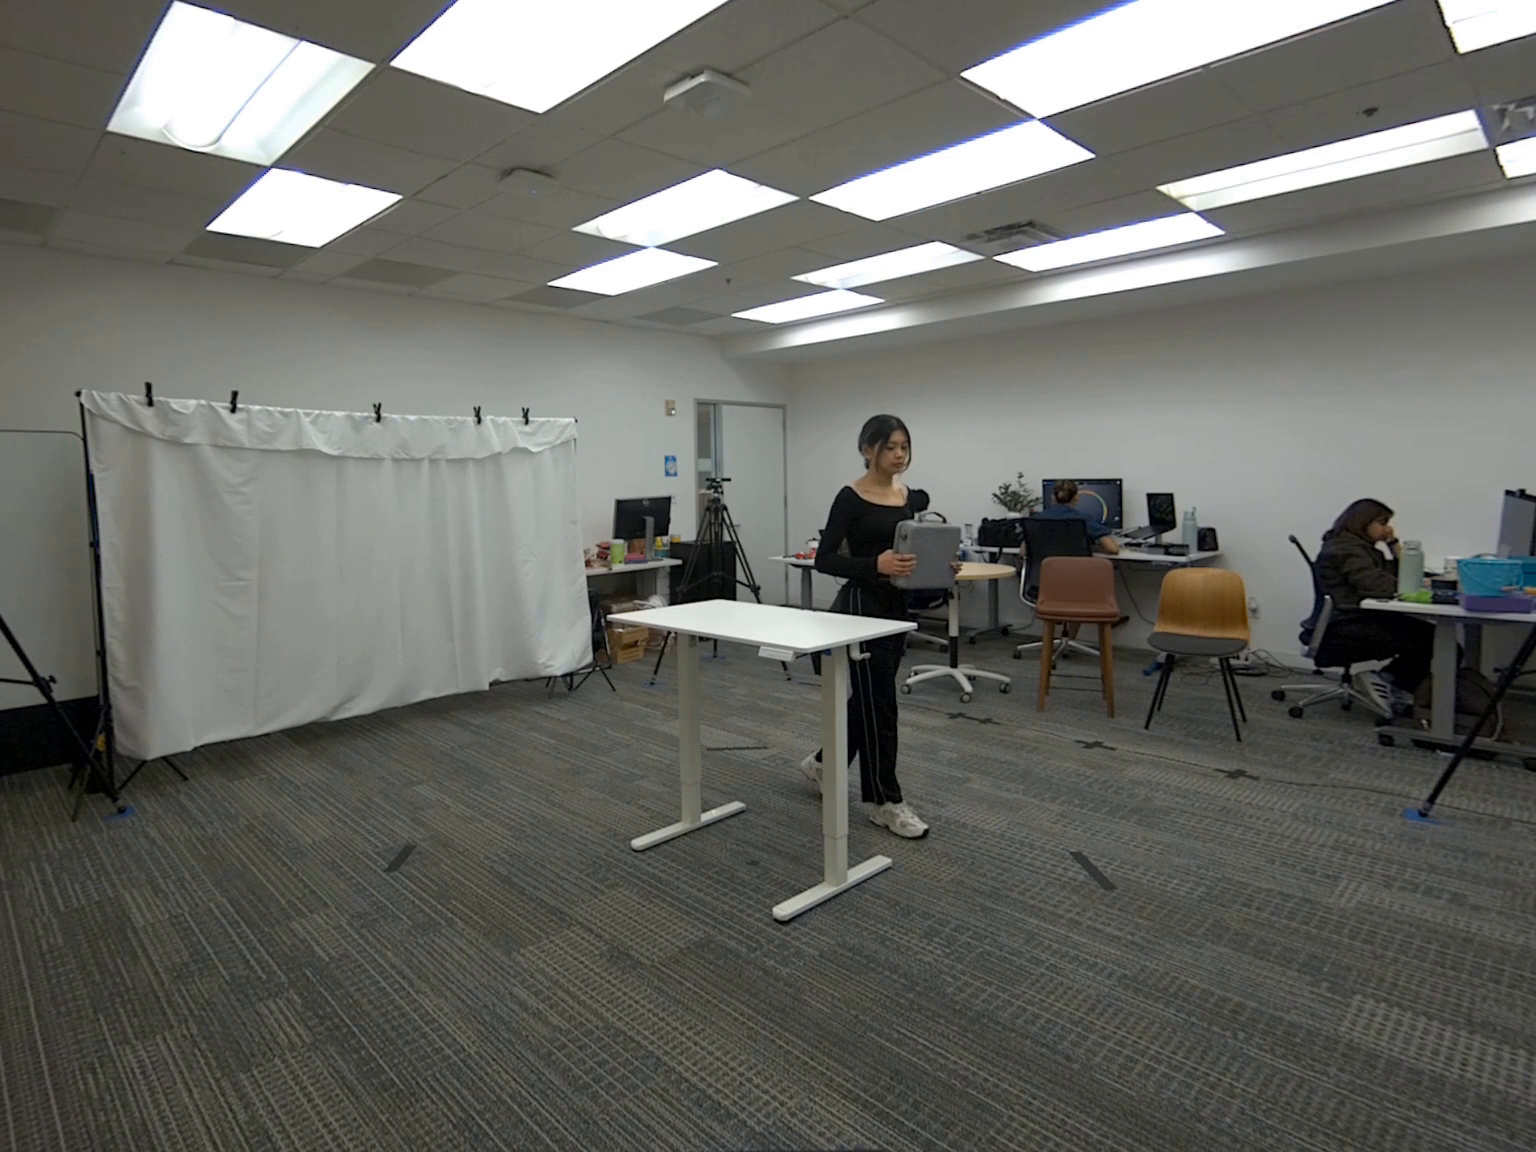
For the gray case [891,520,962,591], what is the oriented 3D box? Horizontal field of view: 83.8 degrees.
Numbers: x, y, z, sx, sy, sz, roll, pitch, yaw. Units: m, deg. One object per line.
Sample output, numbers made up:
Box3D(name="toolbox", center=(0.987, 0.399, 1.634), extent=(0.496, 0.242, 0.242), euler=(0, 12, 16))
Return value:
Box3D(name="gray case", center=(0.602, -0.085, 3.227), extent=(0.251, 0.258, 0.108), euler=(-1, 13, -26))
